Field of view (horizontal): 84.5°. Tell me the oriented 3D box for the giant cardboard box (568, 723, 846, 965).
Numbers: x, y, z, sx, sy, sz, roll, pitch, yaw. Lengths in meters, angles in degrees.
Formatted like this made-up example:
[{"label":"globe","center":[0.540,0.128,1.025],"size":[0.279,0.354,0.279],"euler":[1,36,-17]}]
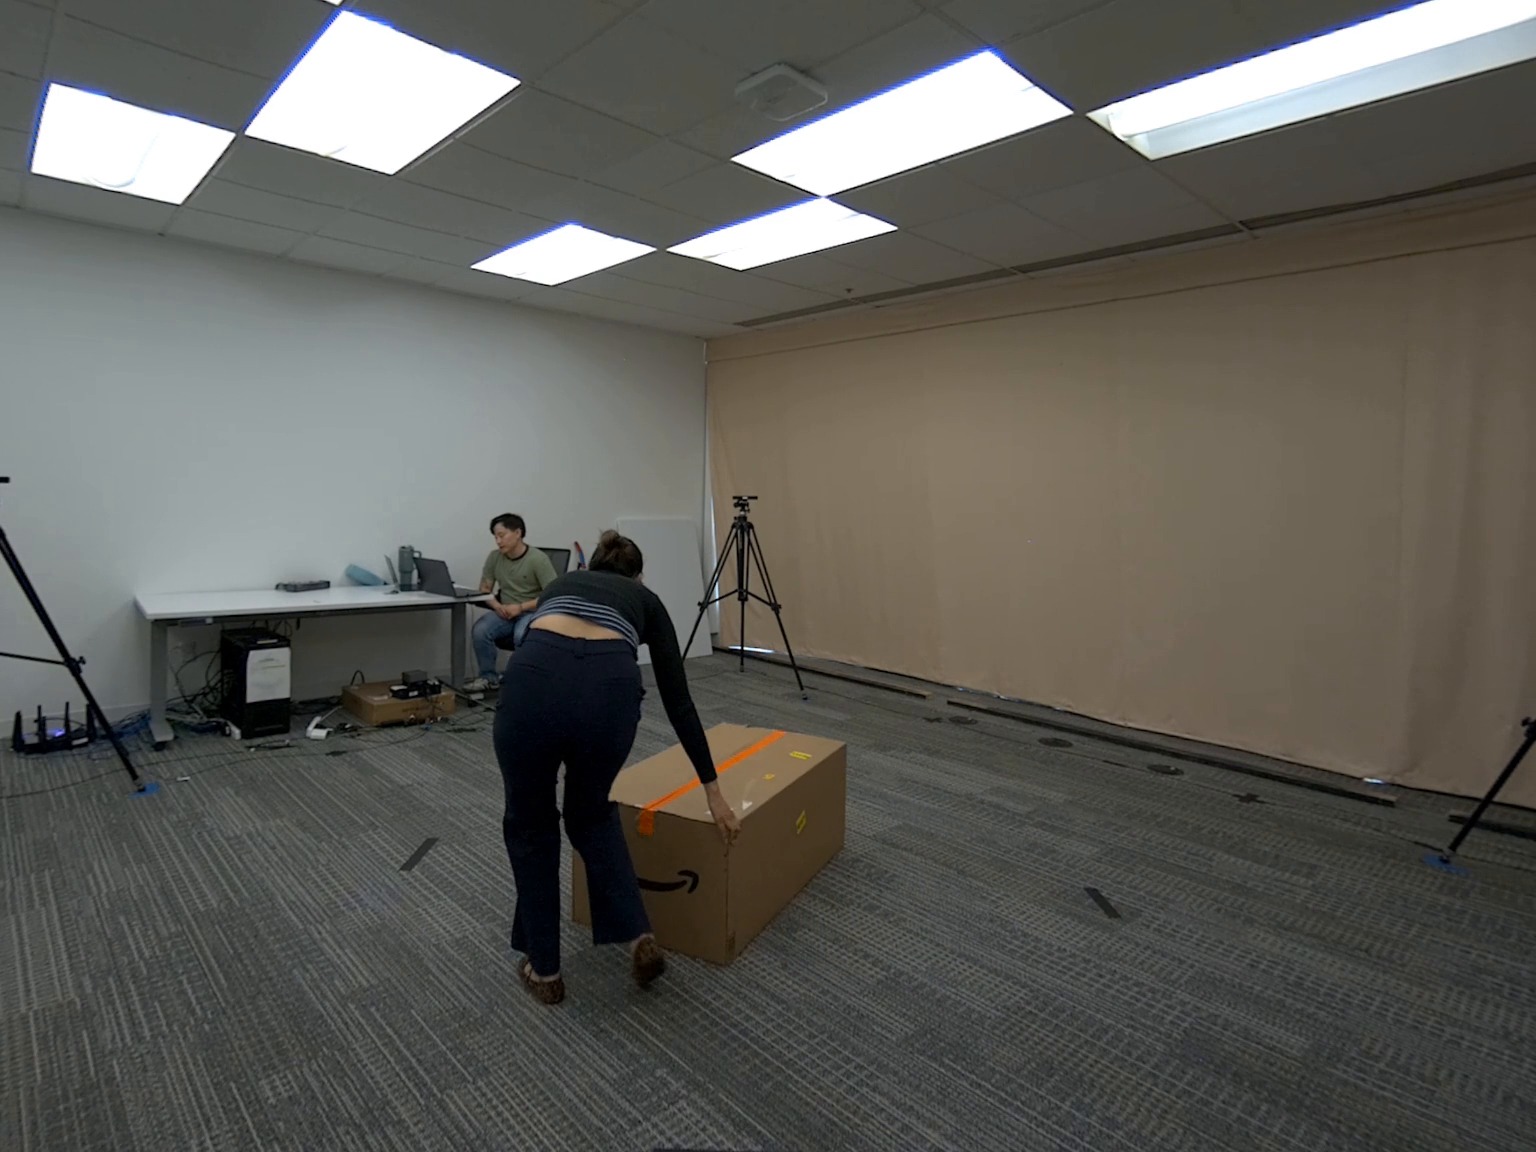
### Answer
[{"label":"giant cardboard box","center":[-0.165,0.893,3.055],"size":[0.589,0.425,1.008],"euler":[4,6,26]}]
